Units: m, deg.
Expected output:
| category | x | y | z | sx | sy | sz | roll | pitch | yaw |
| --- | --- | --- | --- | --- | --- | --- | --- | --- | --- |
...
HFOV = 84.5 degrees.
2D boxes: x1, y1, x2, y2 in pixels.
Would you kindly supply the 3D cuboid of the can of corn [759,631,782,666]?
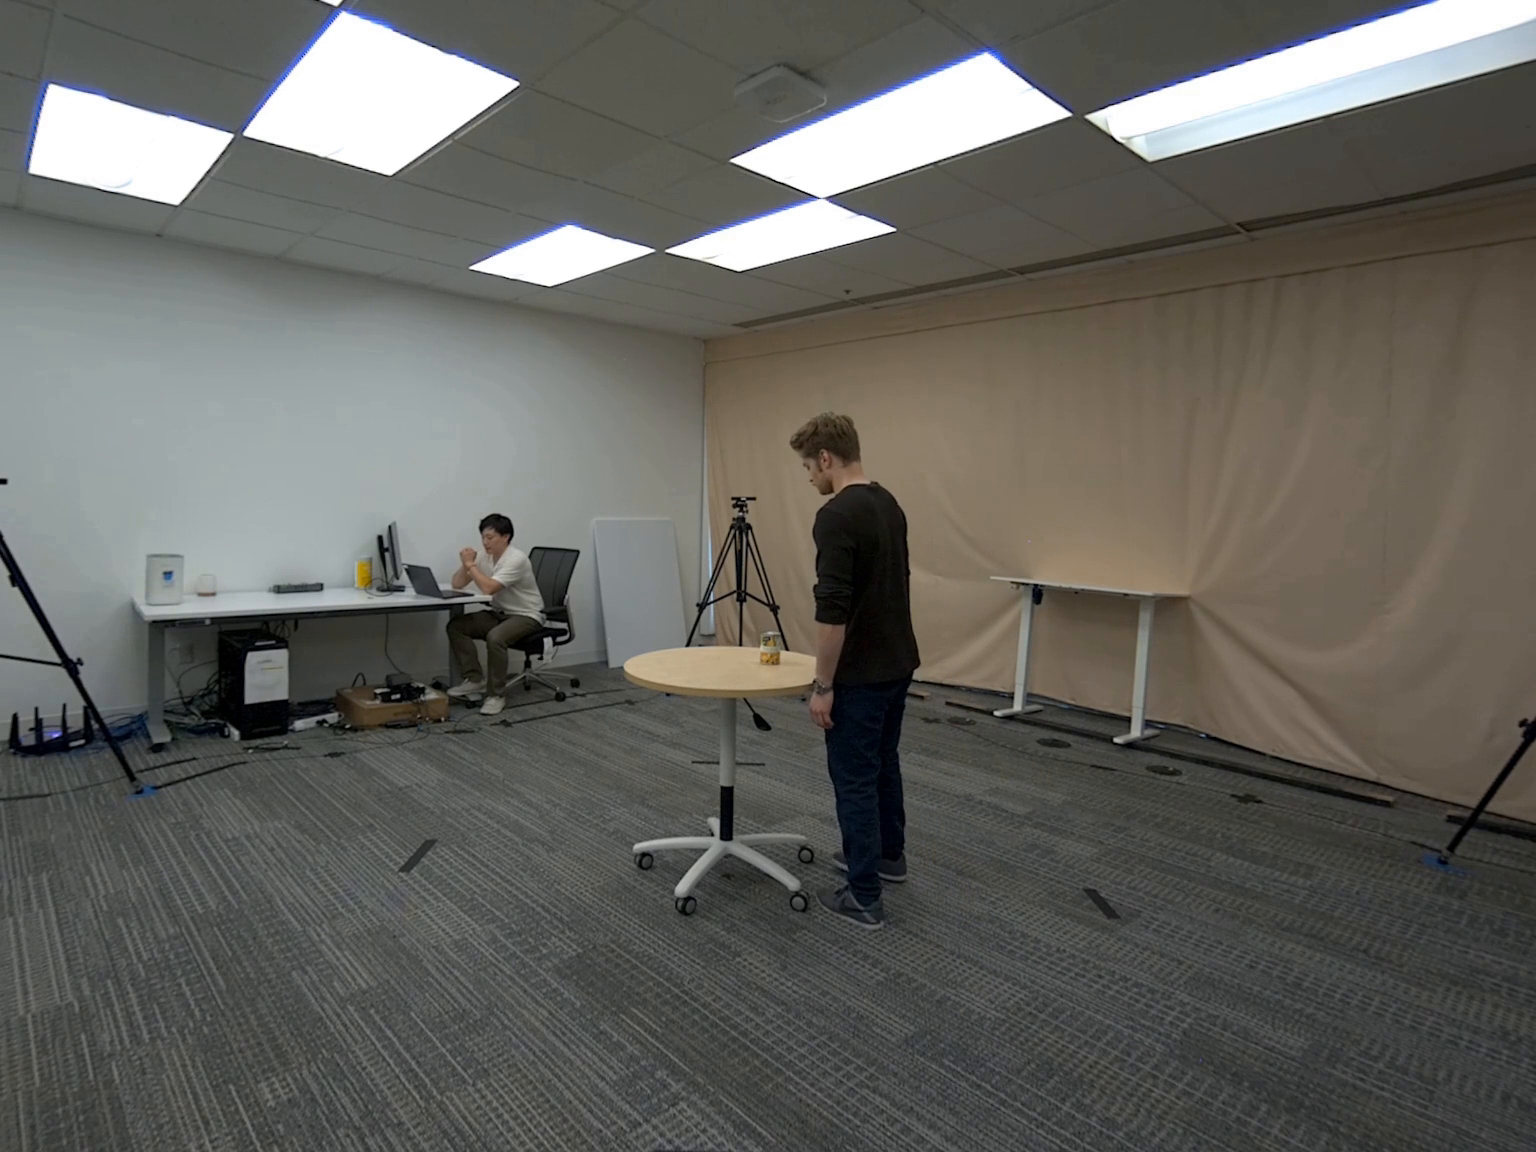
| category | x | y | z | sx | sy | sz | roll | pitch | yaw |
| --- | --- | --- | --- | --- | --- | --- | --- | --- | --- |
| can of corn | -0.001 | 0.274 | 3.118 | 0.074 | 0.111 | 0.074 | 2 | 2 | -1 |
